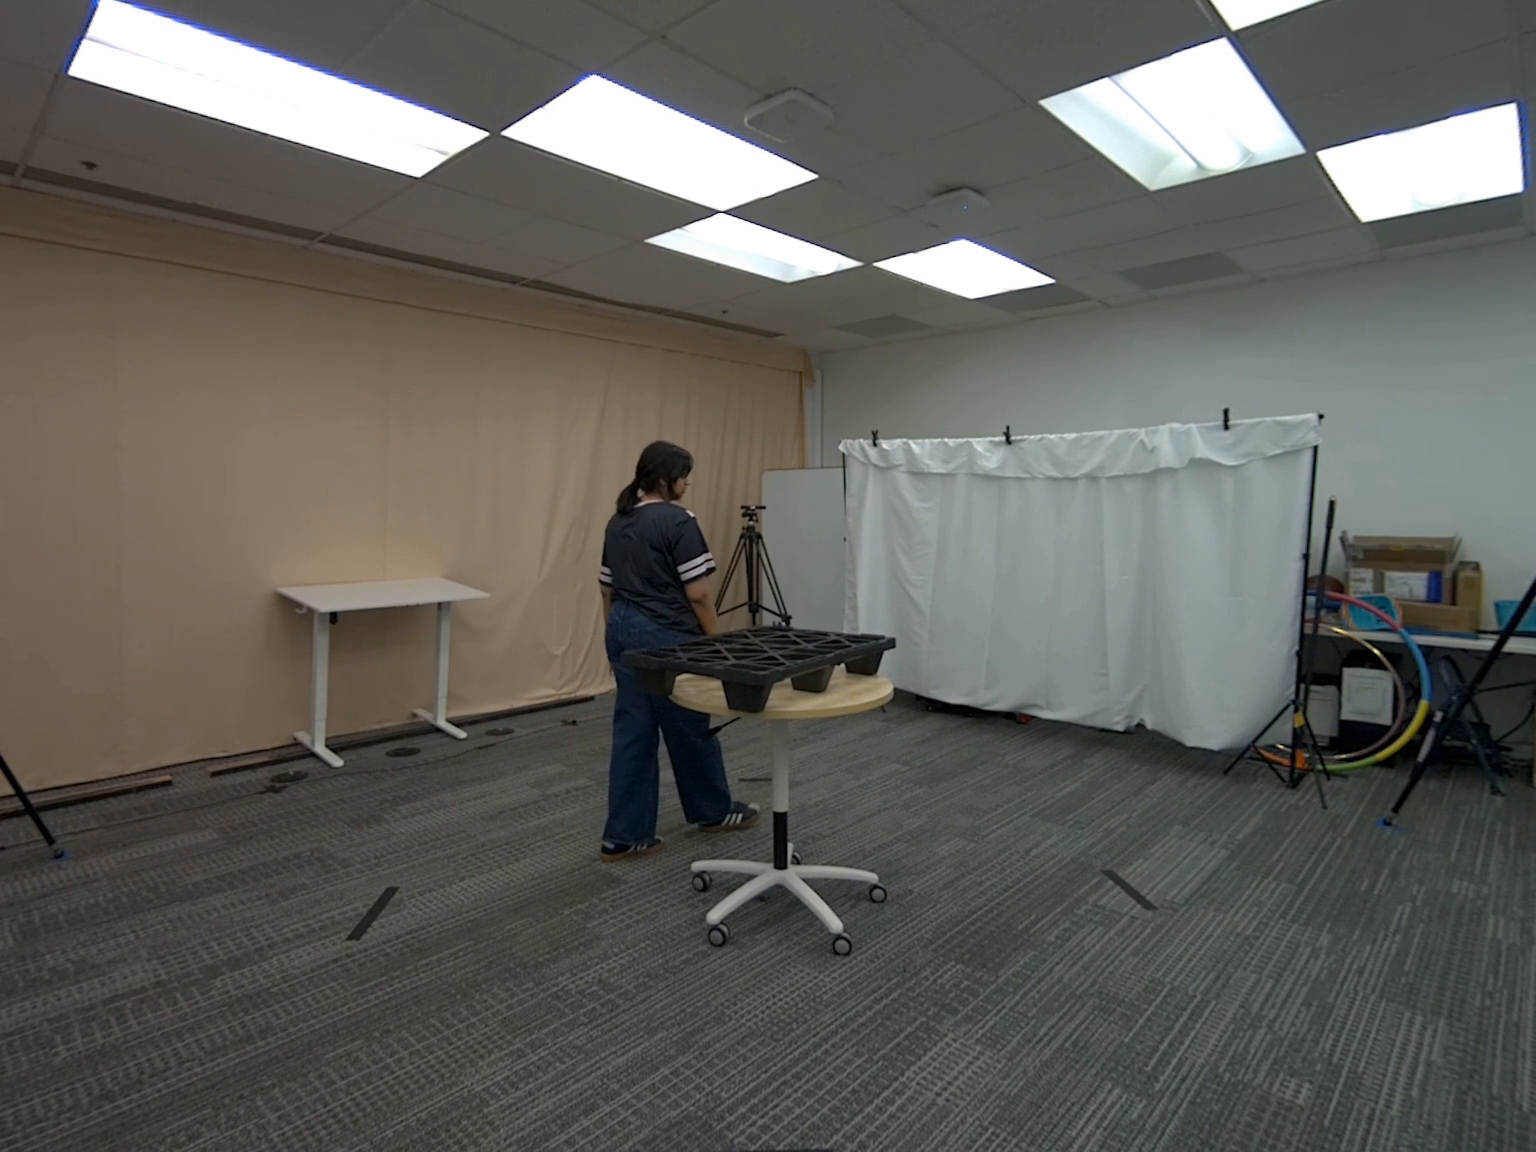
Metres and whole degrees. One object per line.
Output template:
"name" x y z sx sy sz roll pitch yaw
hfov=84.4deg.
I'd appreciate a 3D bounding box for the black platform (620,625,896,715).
"black platform" -0.015 0.306 2.878 0.625 0.143 0.782 2 5 38
